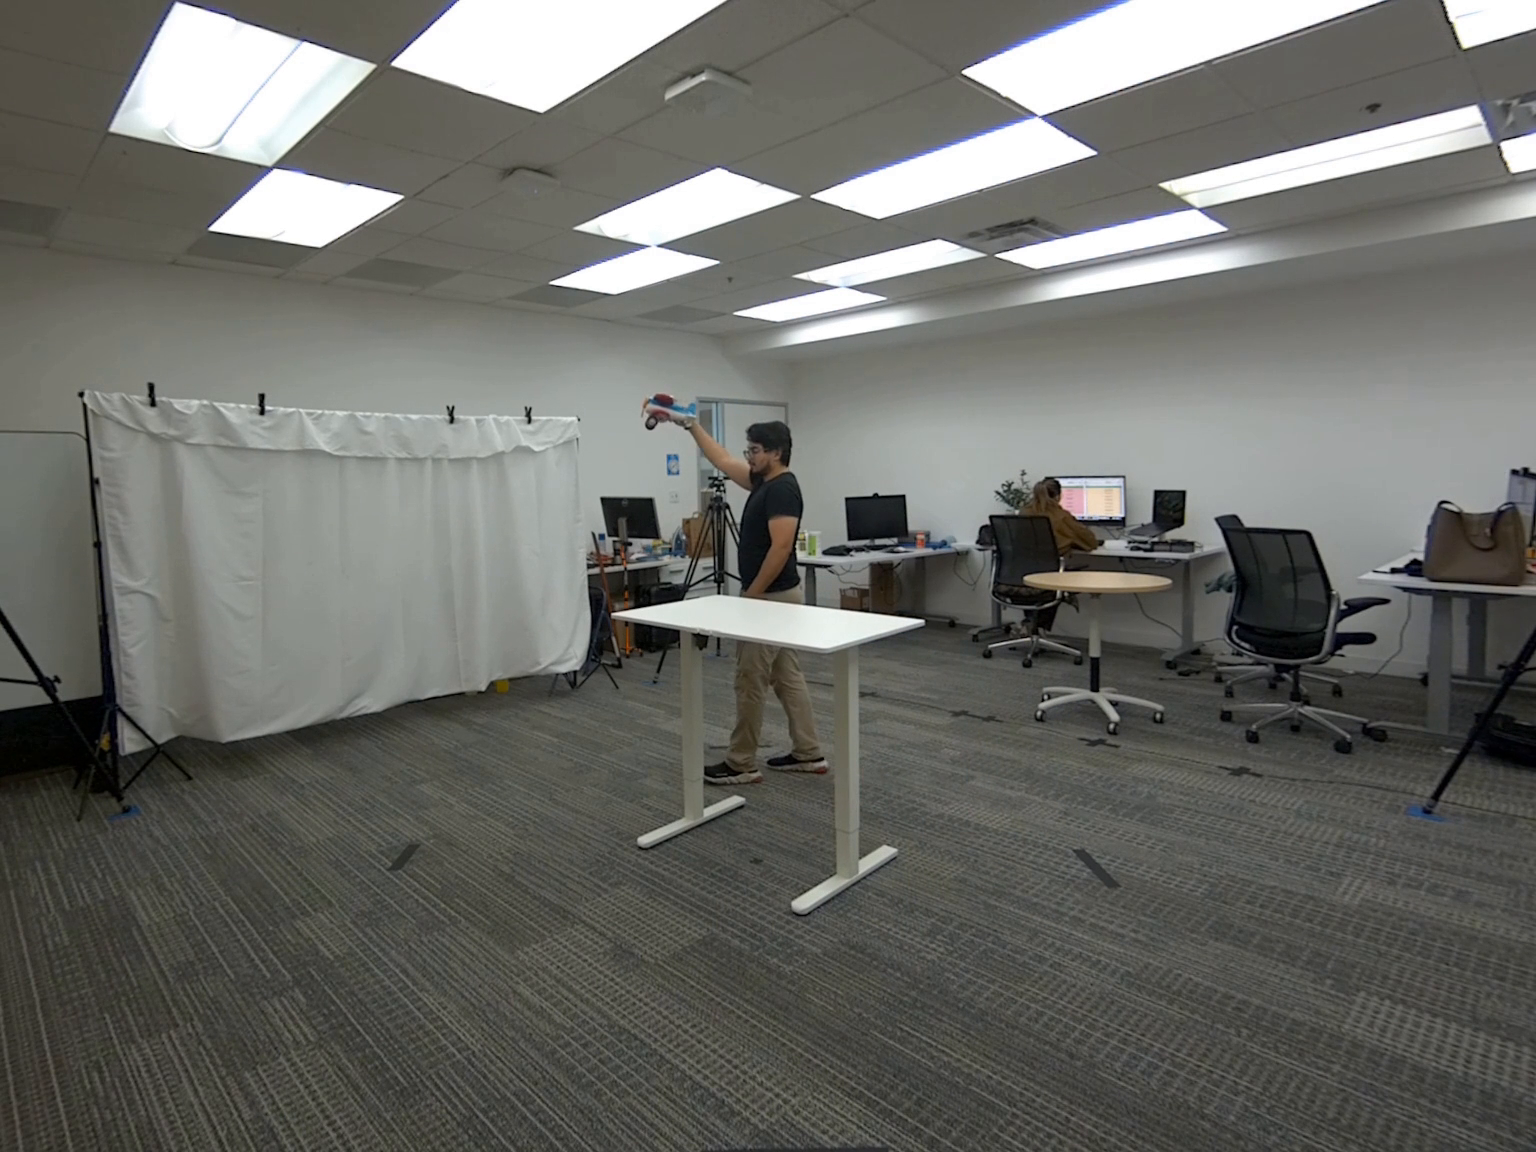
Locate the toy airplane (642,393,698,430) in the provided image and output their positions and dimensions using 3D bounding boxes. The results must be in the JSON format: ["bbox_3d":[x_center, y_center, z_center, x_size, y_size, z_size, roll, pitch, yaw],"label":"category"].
[{"bbox_3d":[-0.485,-0.792,4.145,0.252,0.156,0.258,1,1,-40],"label":"toy airplane"}]
